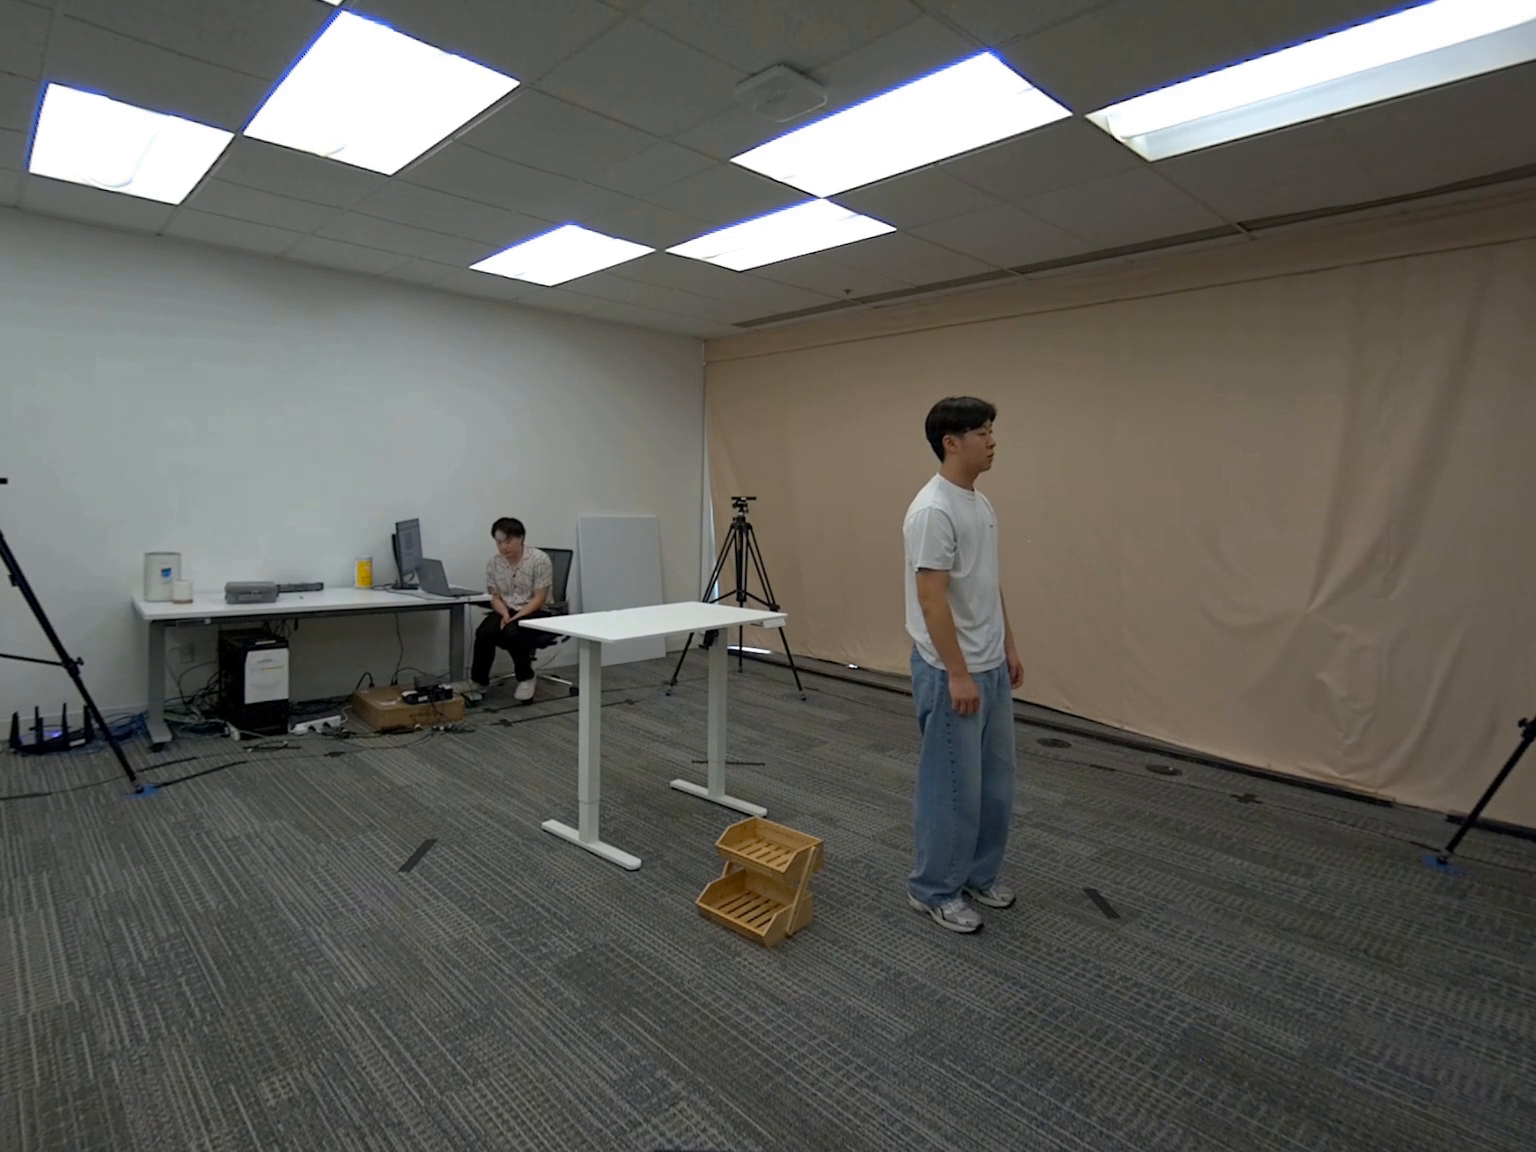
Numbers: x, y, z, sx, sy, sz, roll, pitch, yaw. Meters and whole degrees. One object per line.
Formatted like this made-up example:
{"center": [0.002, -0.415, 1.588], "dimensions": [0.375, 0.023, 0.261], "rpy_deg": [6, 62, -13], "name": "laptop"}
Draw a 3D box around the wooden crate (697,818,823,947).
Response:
{"center": [-0.033, 0.998, 2.799], "dimensions": [0.333, 0.272, 0.295], "rpy_deg": [5, 5, 41], "name": "wooden crate"}
